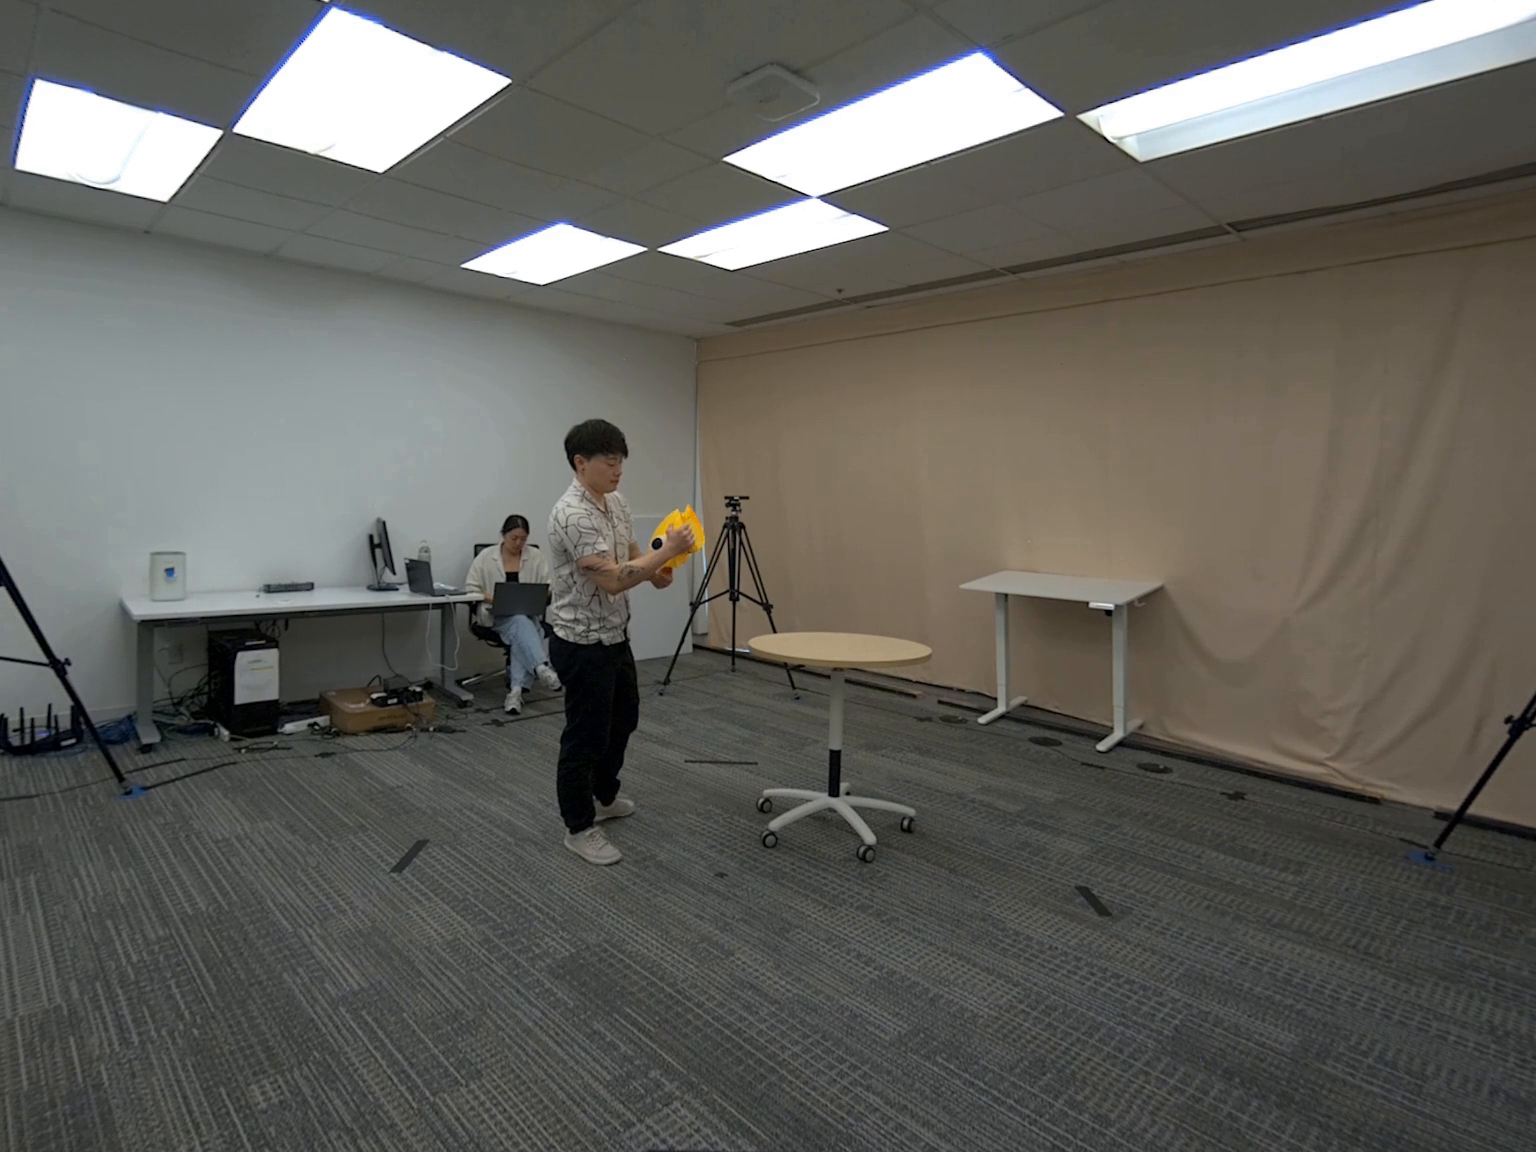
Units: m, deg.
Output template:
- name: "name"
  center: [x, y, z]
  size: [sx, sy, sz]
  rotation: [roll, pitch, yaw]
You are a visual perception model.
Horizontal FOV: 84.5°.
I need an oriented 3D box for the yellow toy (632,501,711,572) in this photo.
- name: "yellow toy"
  center: [-0.377, -0.129, 3.106]
  size: [0.232, 0.191, 0.205]
  rotation: [-19, 10, 17]
